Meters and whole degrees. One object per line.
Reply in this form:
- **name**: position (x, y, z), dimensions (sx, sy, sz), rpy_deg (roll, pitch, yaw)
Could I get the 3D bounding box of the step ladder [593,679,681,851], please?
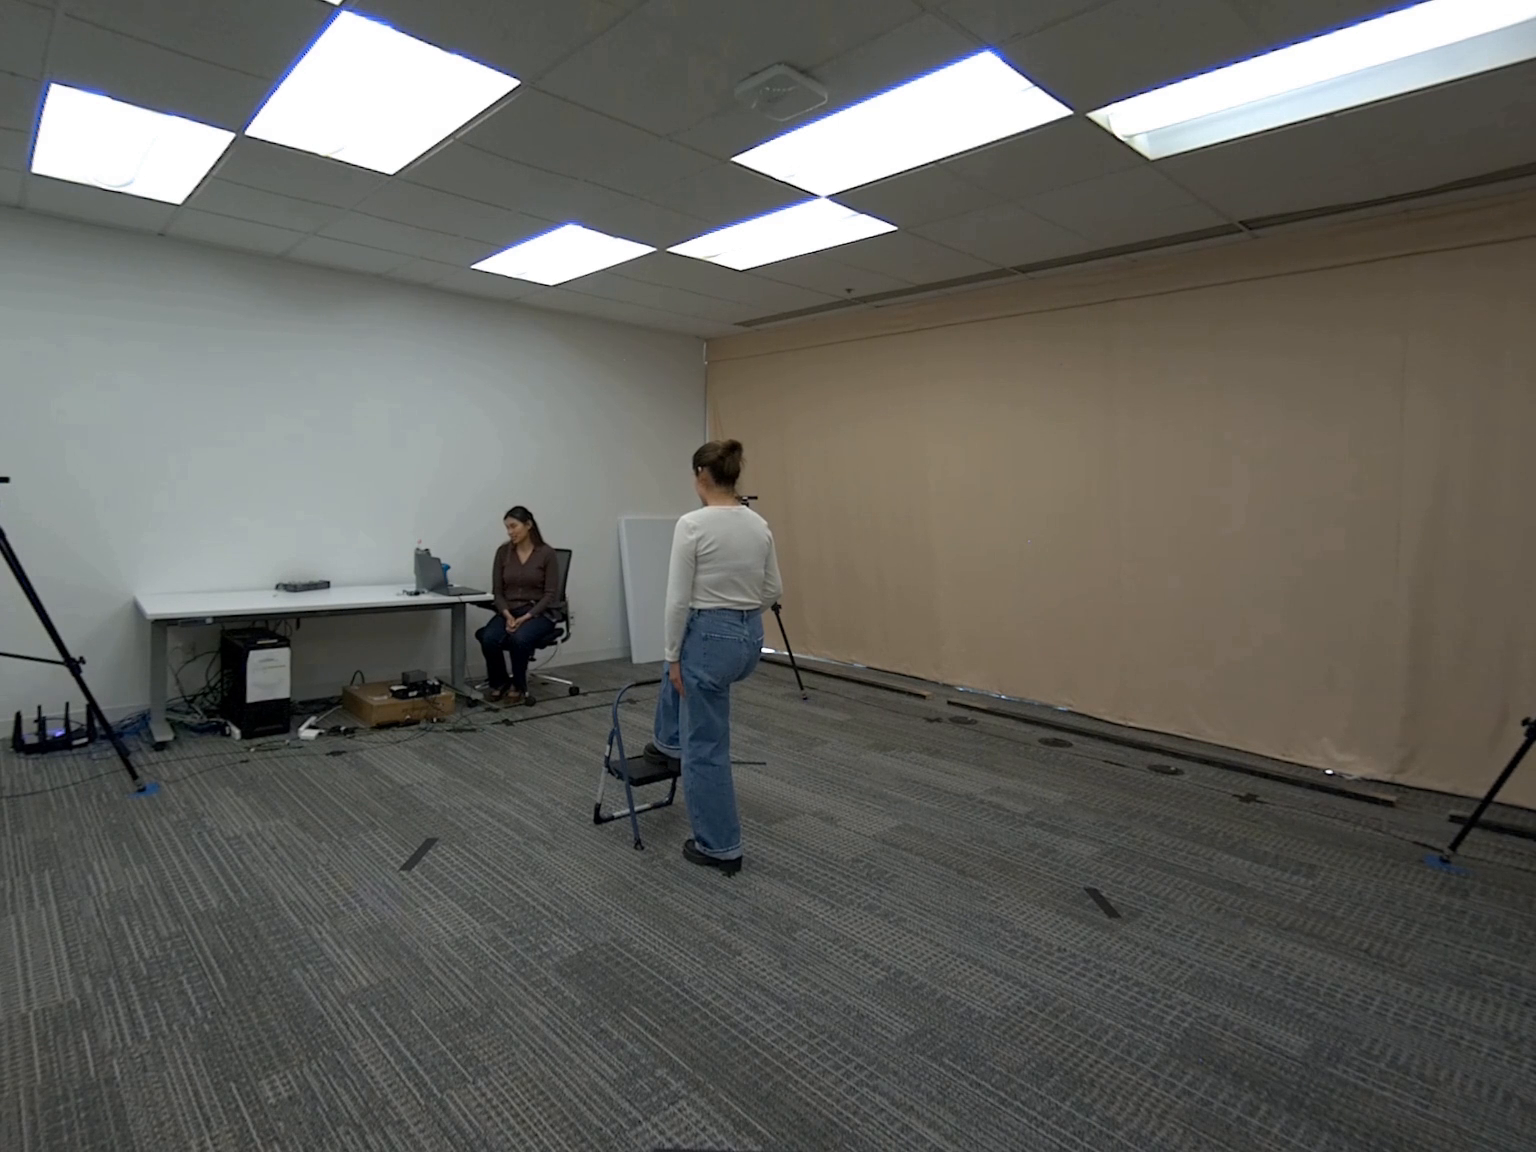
- **step ladder**: position (-0.476, 0.754, 3.557), dimensions (0.421, 0.605, 0.358), rpy_deg (-2, 4, -44)
